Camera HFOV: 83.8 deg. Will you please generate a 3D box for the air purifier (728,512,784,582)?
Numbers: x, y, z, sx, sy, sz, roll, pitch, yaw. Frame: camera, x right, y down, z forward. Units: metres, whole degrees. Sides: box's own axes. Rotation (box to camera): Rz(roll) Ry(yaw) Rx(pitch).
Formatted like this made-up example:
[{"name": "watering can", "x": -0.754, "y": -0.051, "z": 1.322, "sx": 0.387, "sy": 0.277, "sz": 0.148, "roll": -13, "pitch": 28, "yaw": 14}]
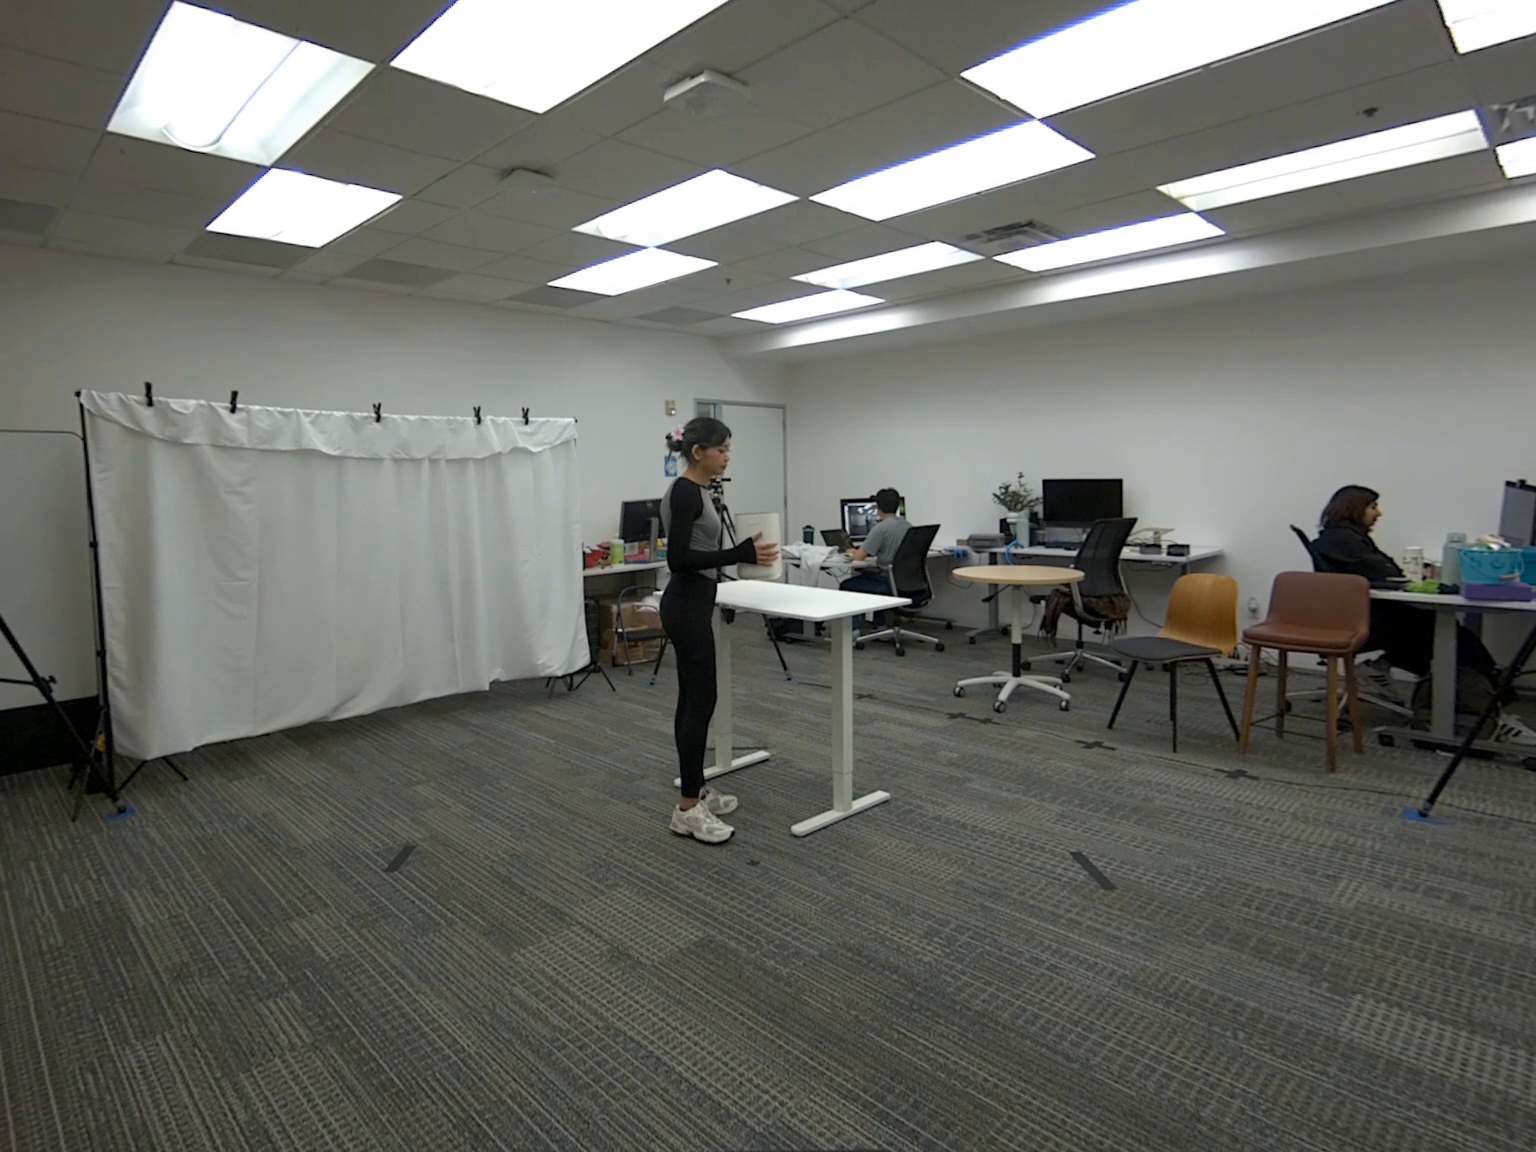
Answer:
[{"name": "air purifier", "x": -0.044, "y": -0.117, "z": 3.425, "sx": 0.172, "sy": 0.265, "sz": 0.170, "roll": -4, "pitch": 2, "yaw": 8}]
